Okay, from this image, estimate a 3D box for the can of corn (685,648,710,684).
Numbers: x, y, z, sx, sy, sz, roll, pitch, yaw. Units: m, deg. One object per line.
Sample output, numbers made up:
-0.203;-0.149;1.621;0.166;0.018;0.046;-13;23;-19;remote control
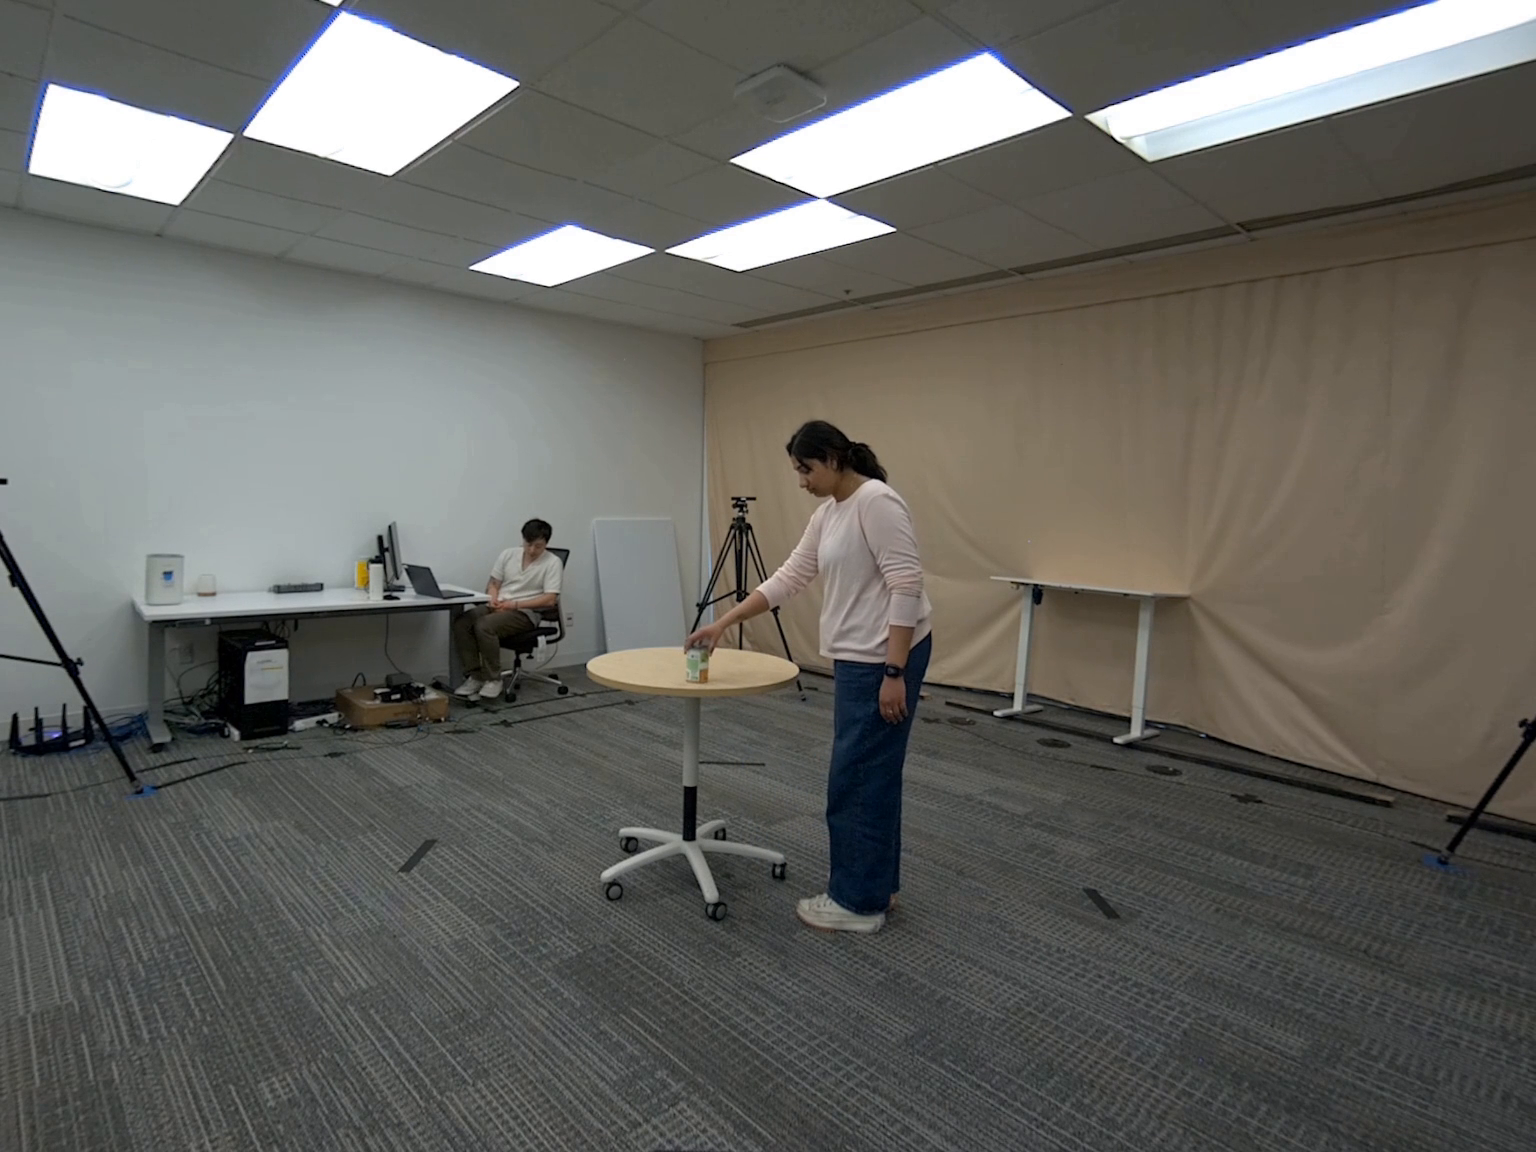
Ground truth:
-0.233;0.290;2.787;0.074;0.110;0.074;2;5;-2;can of corn
